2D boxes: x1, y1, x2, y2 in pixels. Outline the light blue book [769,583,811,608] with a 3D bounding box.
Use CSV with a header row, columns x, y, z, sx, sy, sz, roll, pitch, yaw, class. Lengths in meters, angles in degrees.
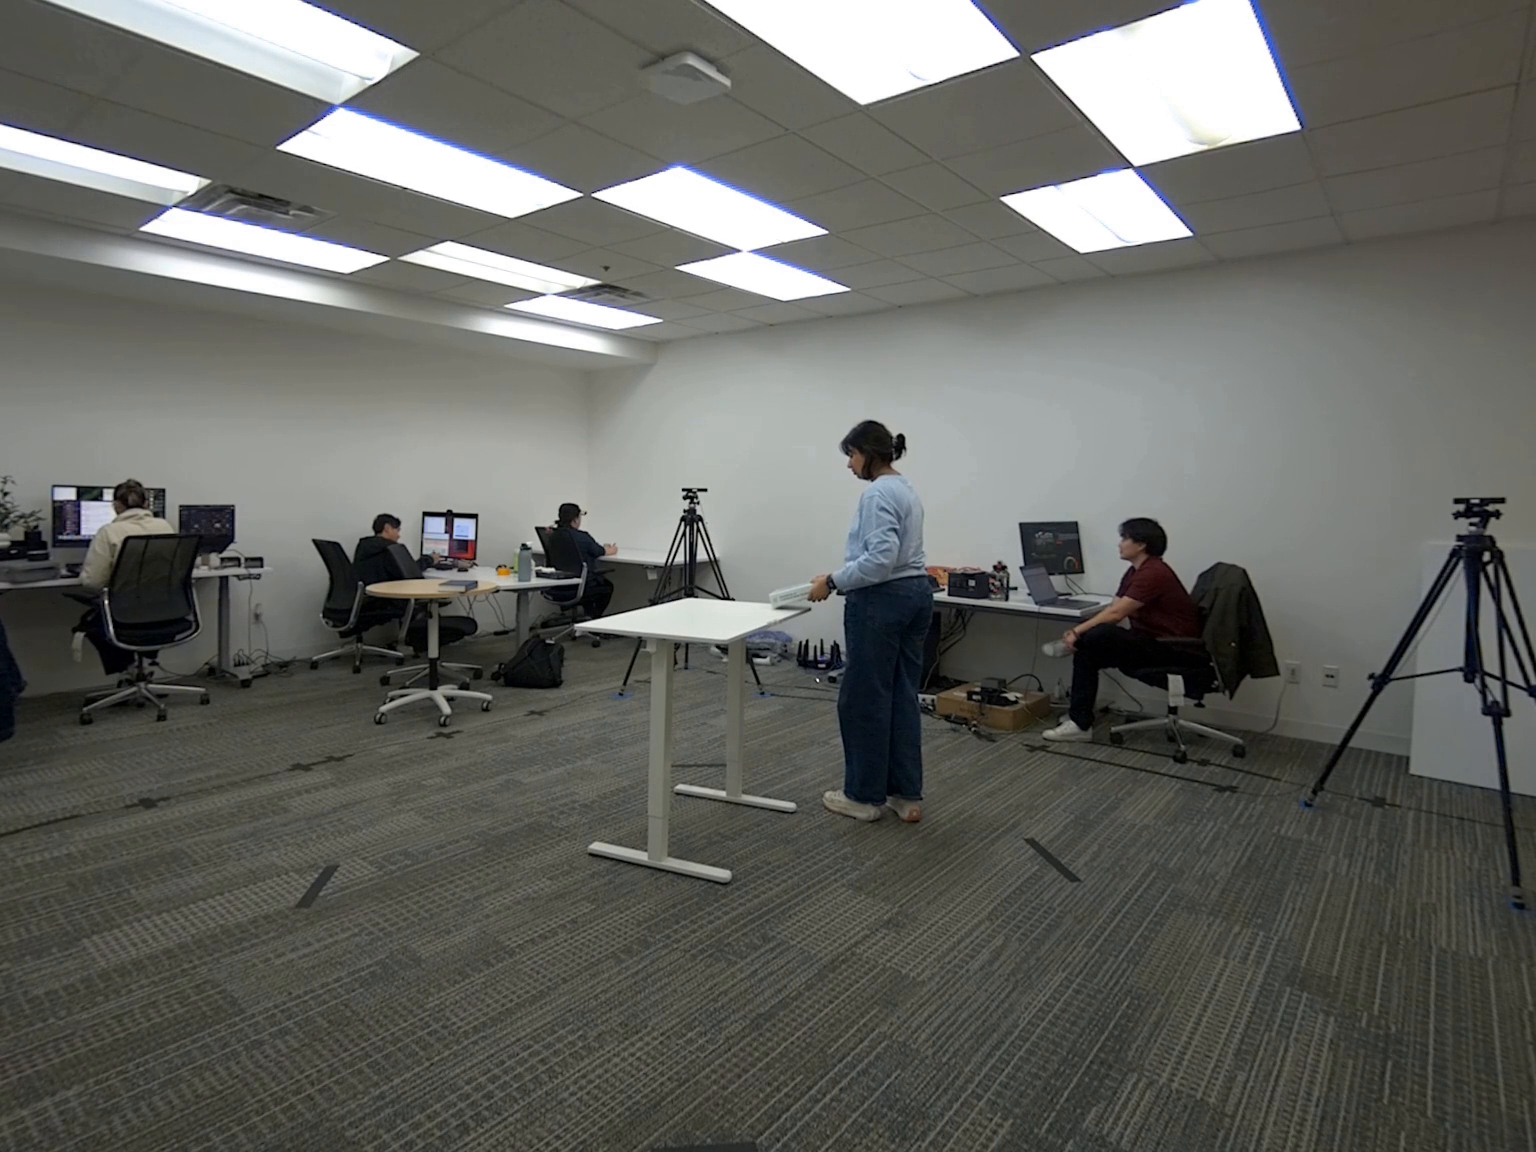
x,y,z,sx,sy,sz,roll,pitch,yaw,class
0.131,0.065,3.737,0.262,0.059,0.191,-13,4,6,light blue book
